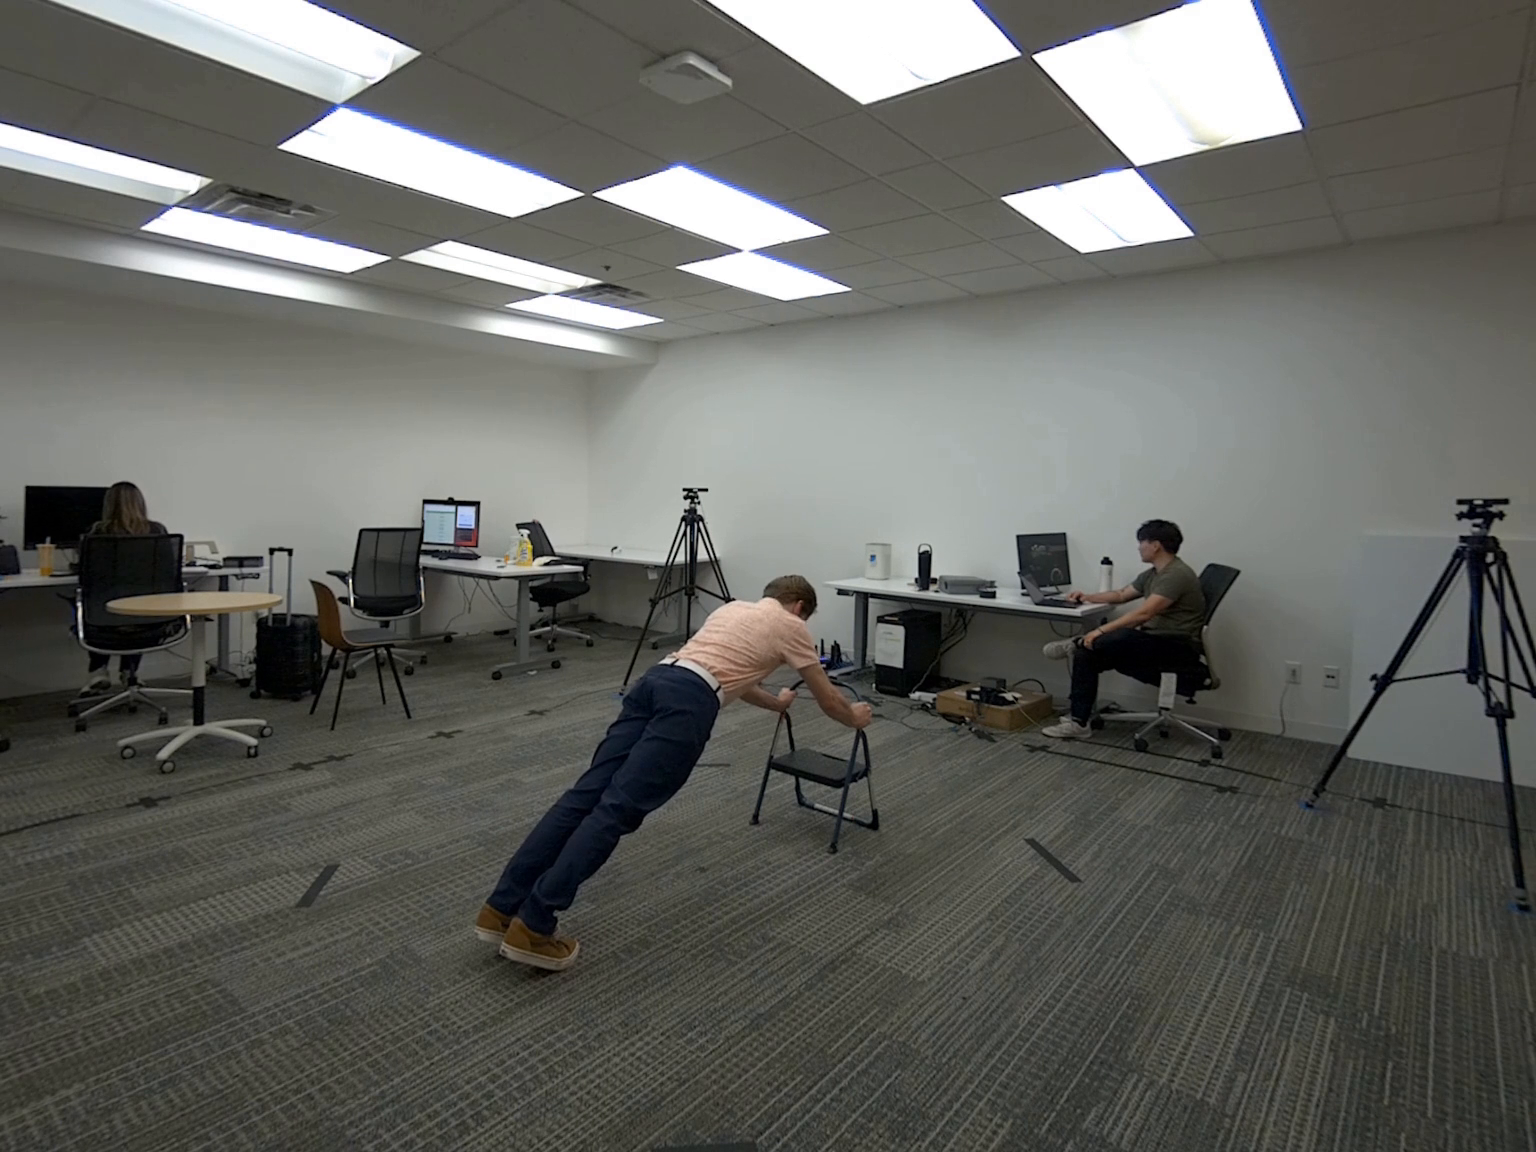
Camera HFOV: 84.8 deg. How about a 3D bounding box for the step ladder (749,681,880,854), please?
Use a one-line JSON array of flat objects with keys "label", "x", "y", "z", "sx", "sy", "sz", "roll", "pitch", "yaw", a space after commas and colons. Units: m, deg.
[{"label": "step ladder", "x": 0.193, "y": 0.737, "z": 3.521, "sx": 0.445, "sy": 0.604, "sz": 0.339, "roll": 4, "pitch": 4, "yaw": 40}]
